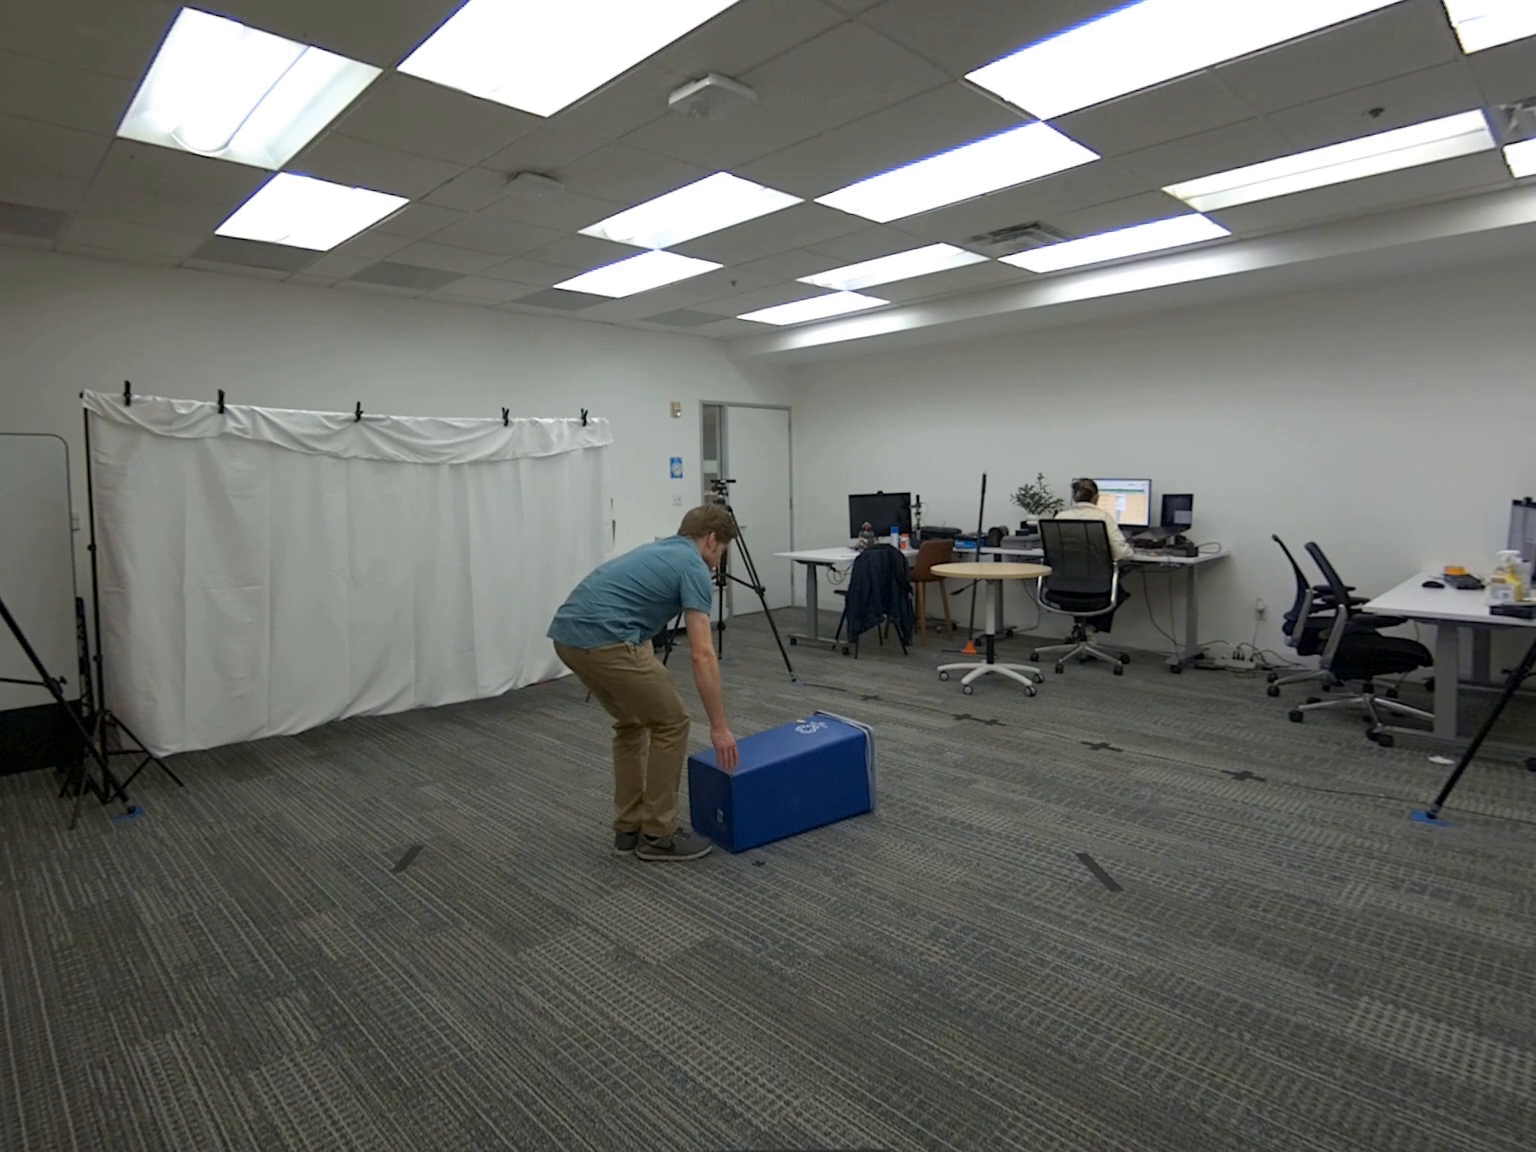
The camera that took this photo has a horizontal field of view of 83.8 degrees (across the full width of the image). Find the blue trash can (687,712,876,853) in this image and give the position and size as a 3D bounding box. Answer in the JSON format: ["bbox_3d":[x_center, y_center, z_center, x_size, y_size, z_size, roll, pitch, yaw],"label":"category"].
[{"bbox_3d":[0.062,0.836,3.486,0.697,0.376,0.385,-9,9,-36],"label":"blue trash can"}]
